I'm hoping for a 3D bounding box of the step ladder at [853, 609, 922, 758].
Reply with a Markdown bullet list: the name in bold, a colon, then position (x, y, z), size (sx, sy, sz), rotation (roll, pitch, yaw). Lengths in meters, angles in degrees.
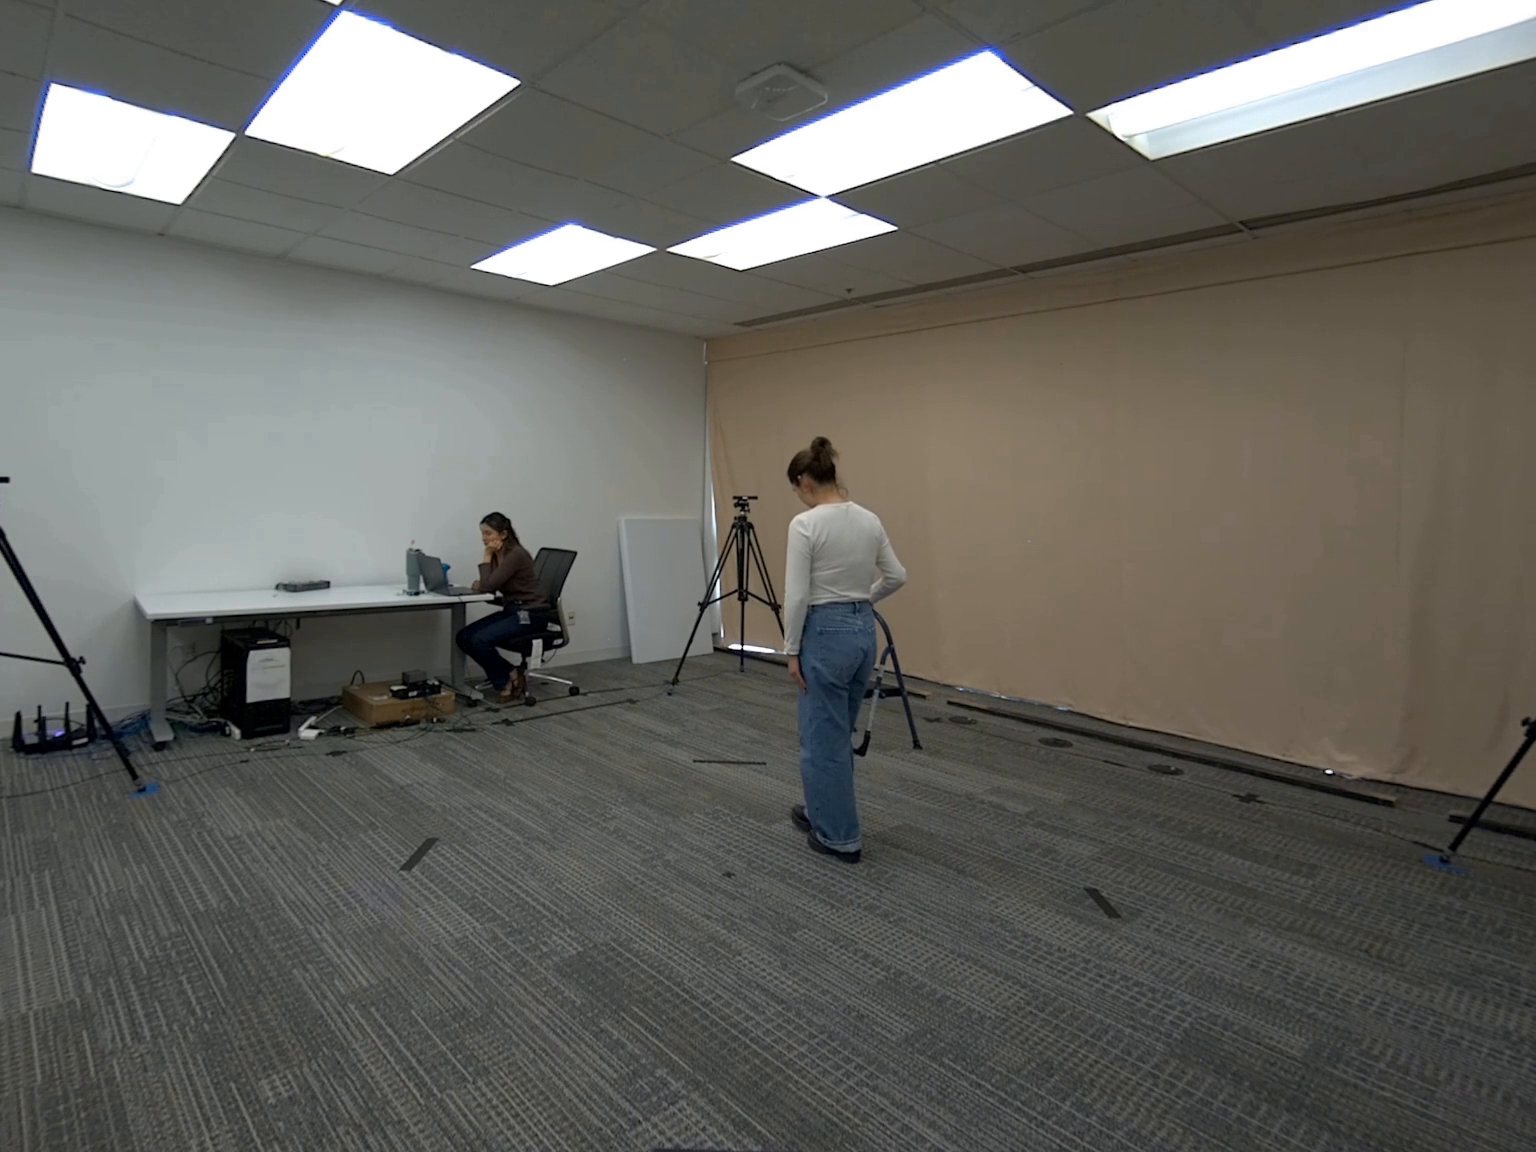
- **step ladder**: position (0.396, 0.428, 3.635), size (0.341, 0.607, 0.440), rotation (2, -1, -36)
